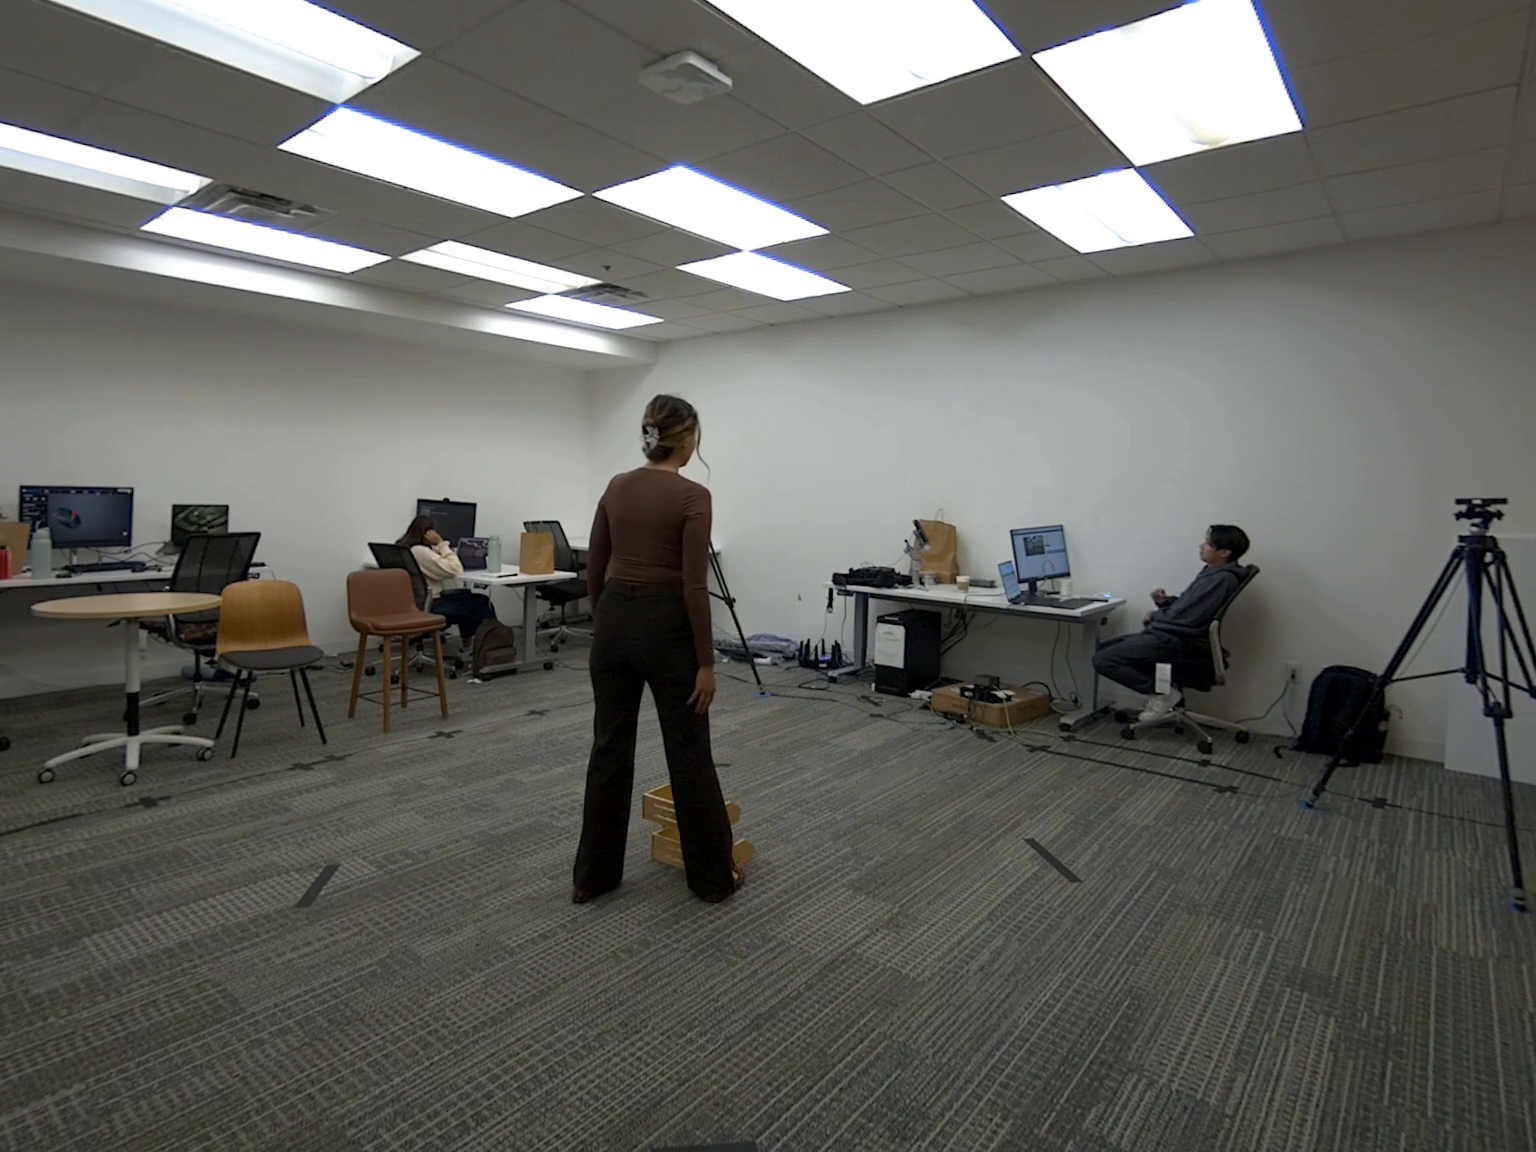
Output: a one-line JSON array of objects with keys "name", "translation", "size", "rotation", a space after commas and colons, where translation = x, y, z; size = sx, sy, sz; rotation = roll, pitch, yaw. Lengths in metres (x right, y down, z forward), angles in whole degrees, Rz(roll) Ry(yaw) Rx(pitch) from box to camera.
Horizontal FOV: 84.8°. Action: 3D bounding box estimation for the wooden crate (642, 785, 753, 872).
[{"name": "wooden crate", "translation": [-0.265, 0.927, 3.178], "size": [0.335, 0.272, 0.293], "rotation": [4, 5, 35]}]
